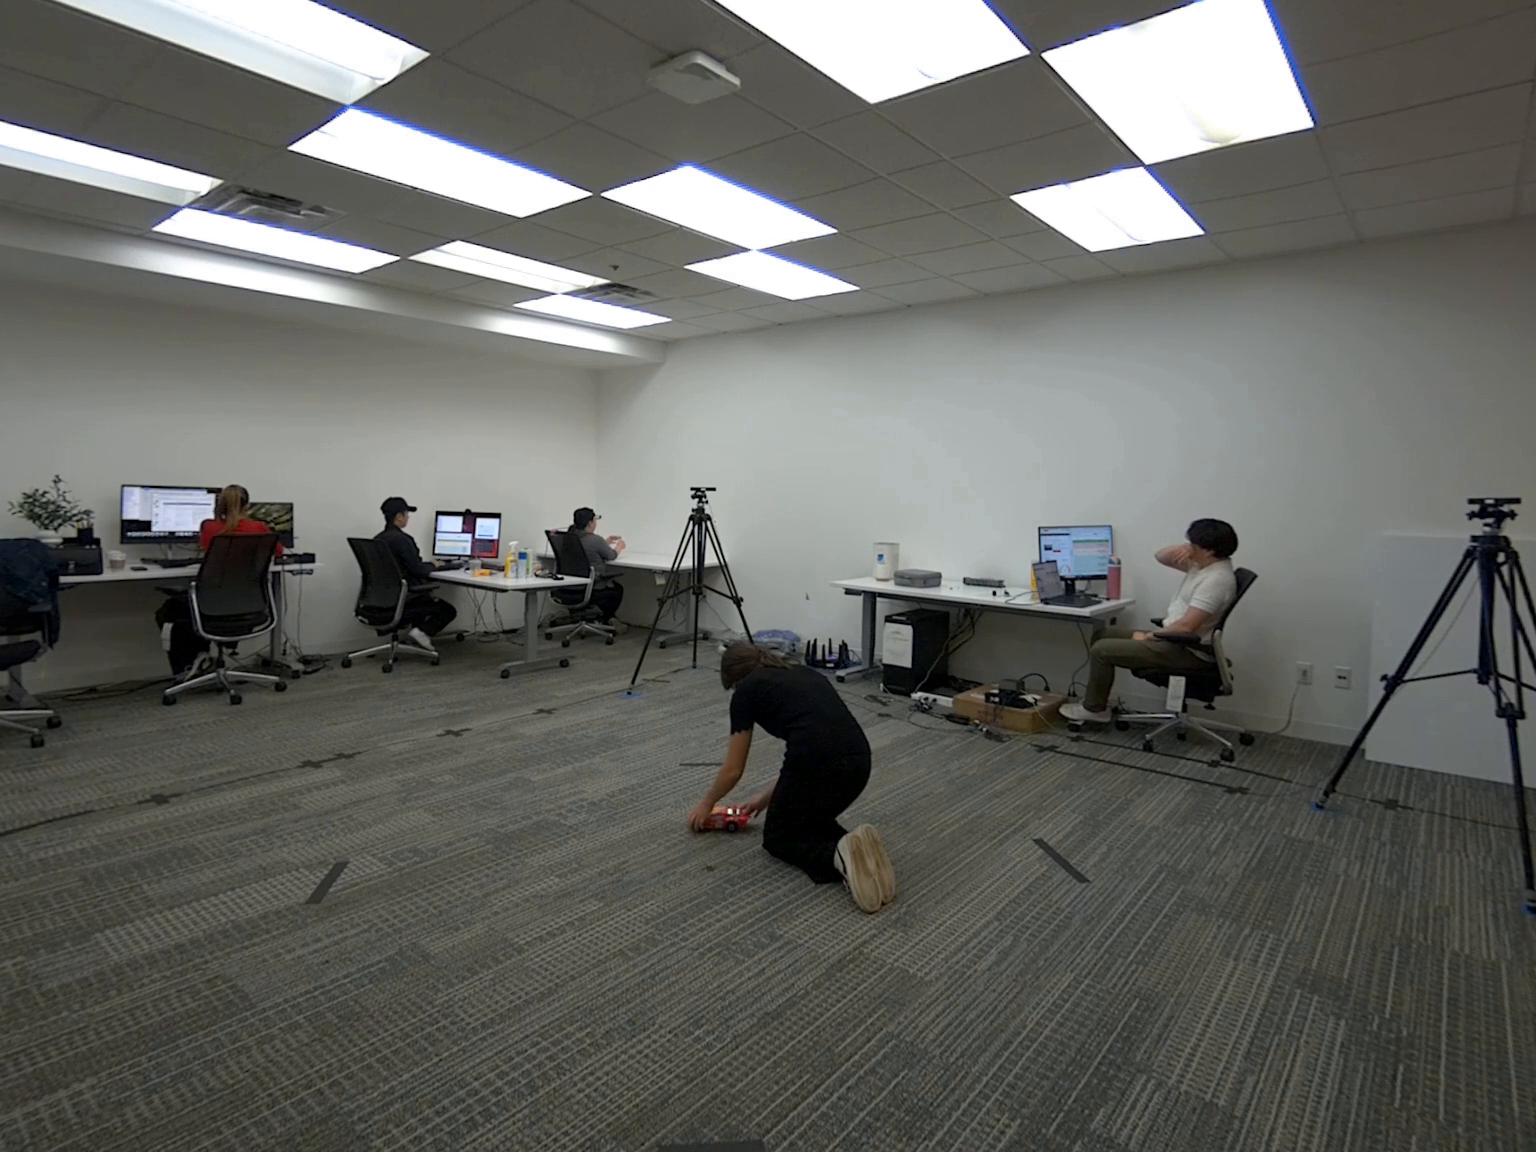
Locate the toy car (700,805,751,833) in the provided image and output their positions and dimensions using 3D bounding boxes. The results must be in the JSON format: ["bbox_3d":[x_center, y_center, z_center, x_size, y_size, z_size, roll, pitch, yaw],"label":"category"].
[{"bbox_3d":[-0.208,0.999,3.494,0.255,0.083,0.131,-9,6,2],"label":"toy car"}]
